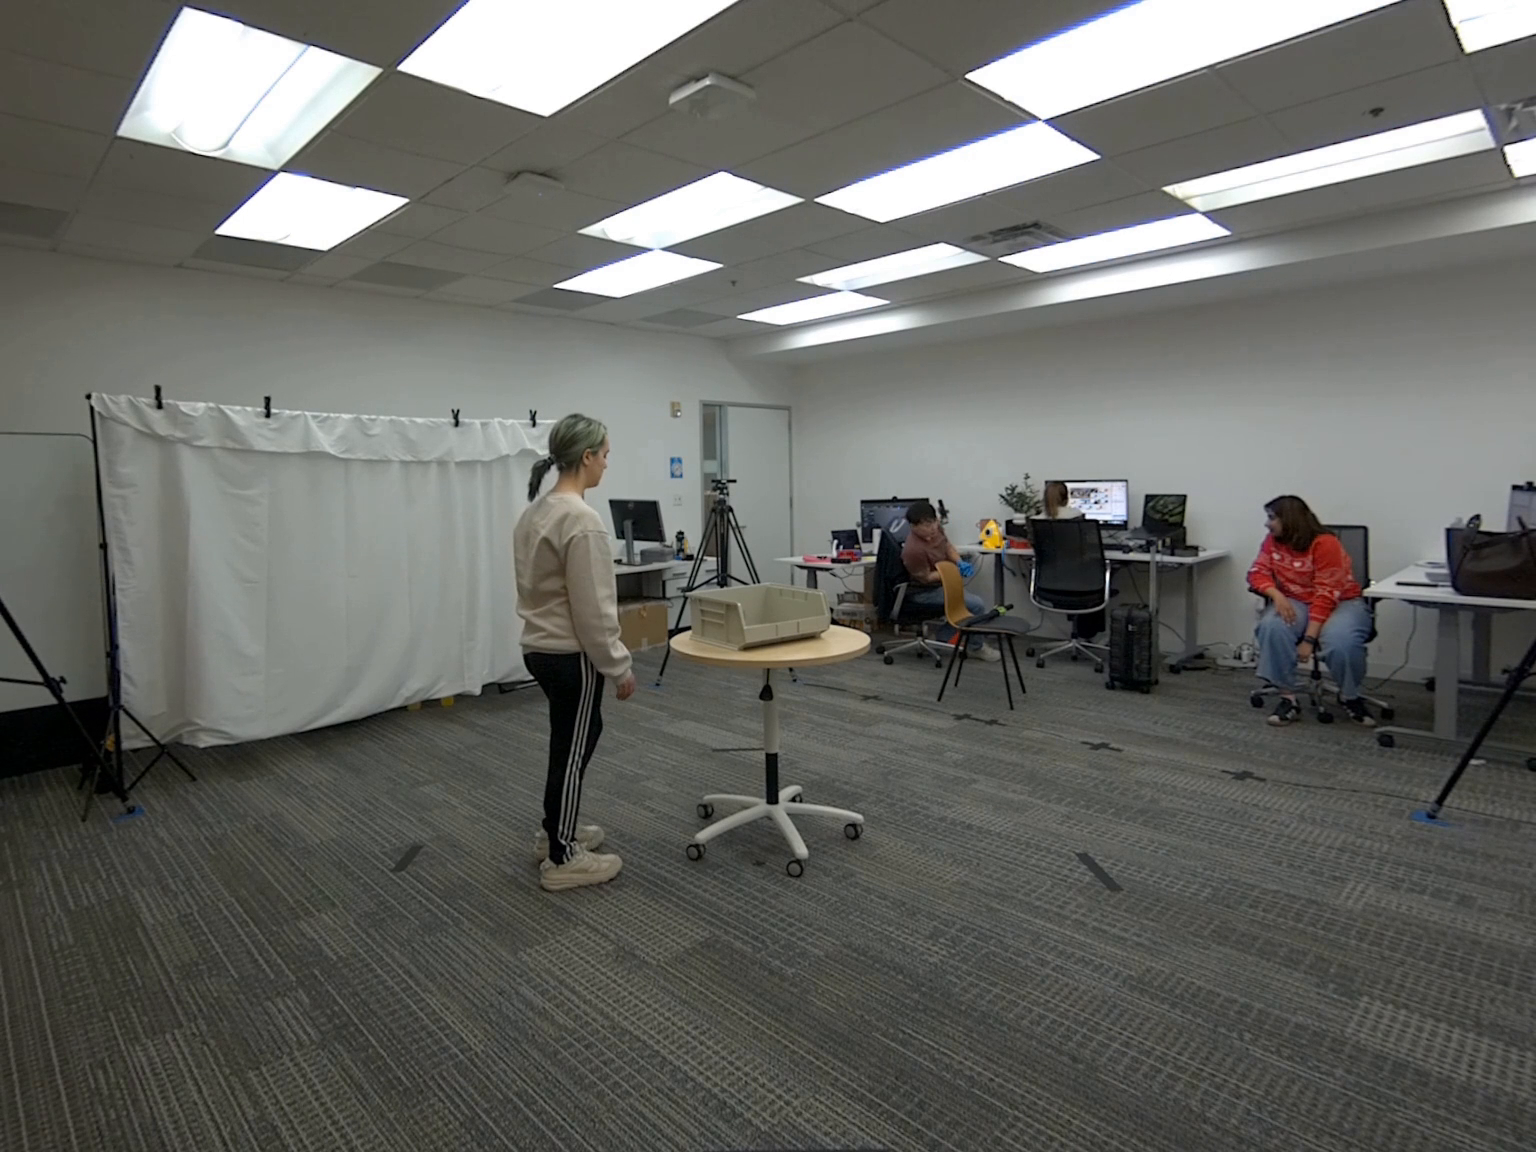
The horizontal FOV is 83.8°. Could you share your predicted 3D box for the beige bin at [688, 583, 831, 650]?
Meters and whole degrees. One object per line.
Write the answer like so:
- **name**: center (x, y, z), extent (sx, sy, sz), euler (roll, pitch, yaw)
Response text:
- **beige bin**: center (-0.035, 0.154, 3.292), extent (0.412, 0.188, 0.388), euler (-6, 7, -36)
